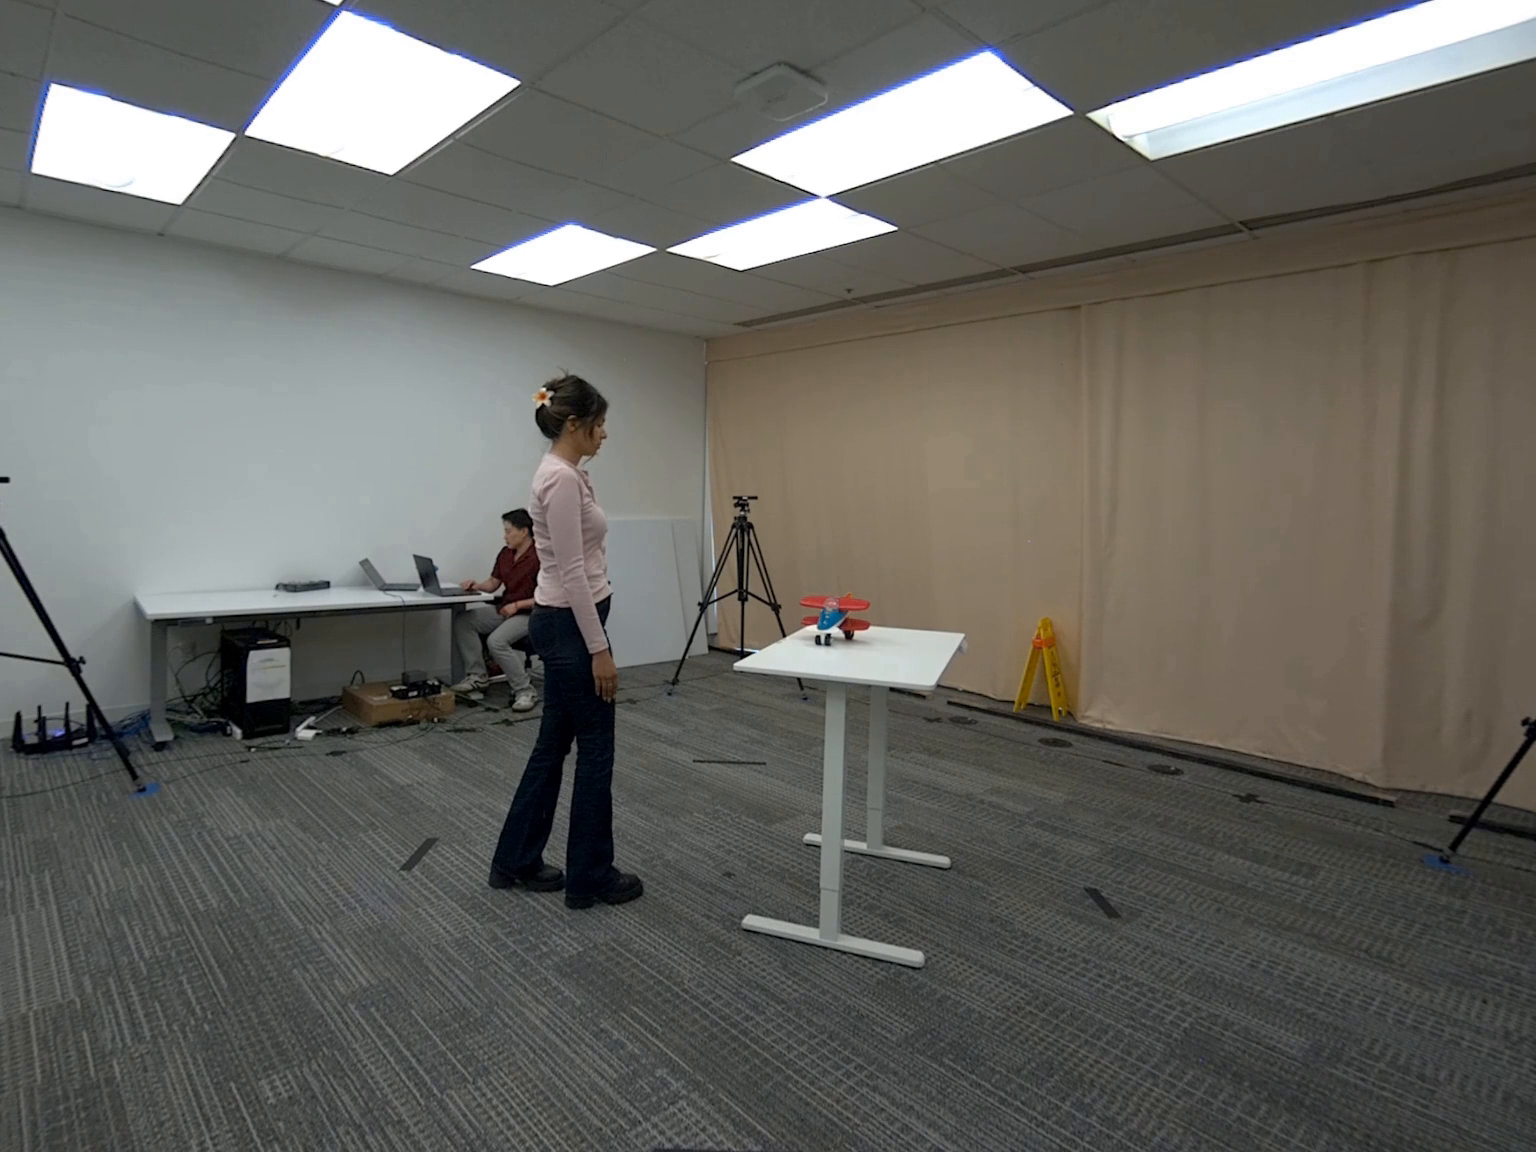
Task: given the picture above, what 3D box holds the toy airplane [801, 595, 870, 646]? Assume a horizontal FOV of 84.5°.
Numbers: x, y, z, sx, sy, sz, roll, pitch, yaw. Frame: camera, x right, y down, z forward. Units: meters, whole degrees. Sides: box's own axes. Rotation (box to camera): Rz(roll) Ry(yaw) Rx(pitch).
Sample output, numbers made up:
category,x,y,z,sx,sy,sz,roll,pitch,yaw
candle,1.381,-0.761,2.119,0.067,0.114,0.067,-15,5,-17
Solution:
category,x,y,z,sx,sy,sz,roll,pitch,yaw
toy airplane,0.243,0.161,3.027,0.249,0.156,0.261,0,4,-8
